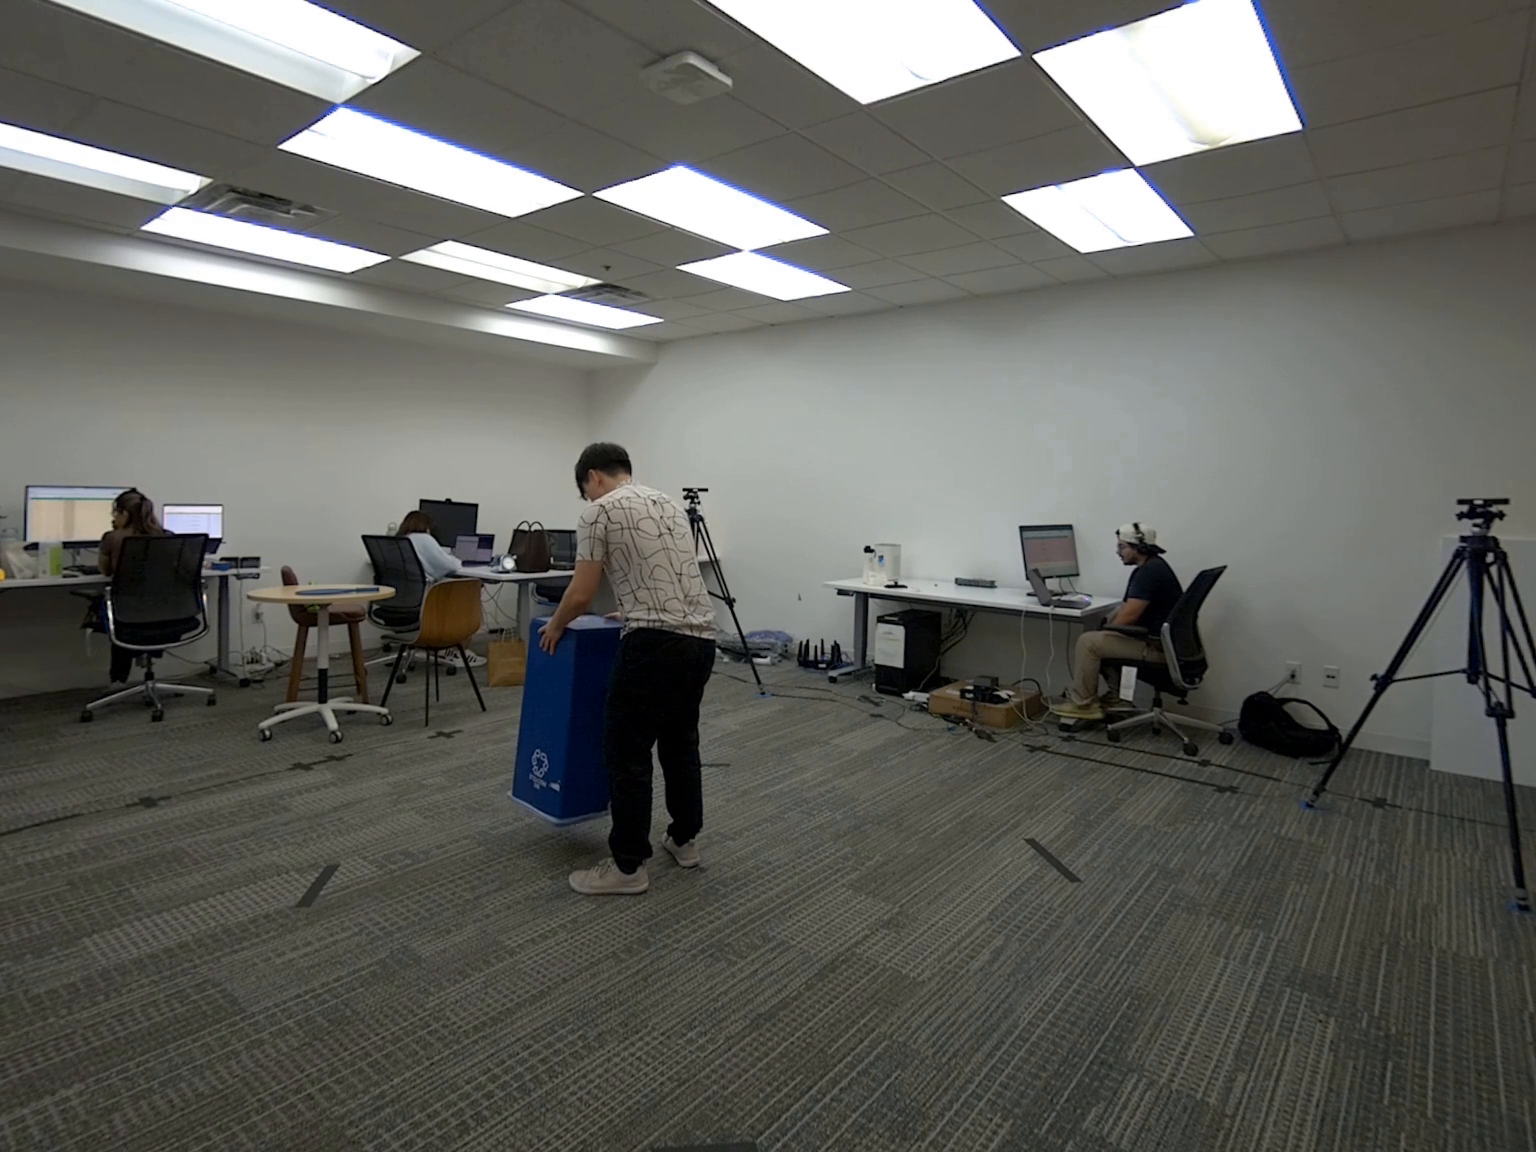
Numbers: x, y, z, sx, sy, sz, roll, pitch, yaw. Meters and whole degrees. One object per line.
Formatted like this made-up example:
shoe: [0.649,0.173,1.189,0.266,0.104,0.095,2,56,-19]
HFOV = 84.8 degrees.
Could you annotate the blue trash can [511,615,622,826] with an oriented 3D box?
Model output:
blue trash can: [-0.752,0.526,3.281,0.391,0.712,0.362,6,3,43]
